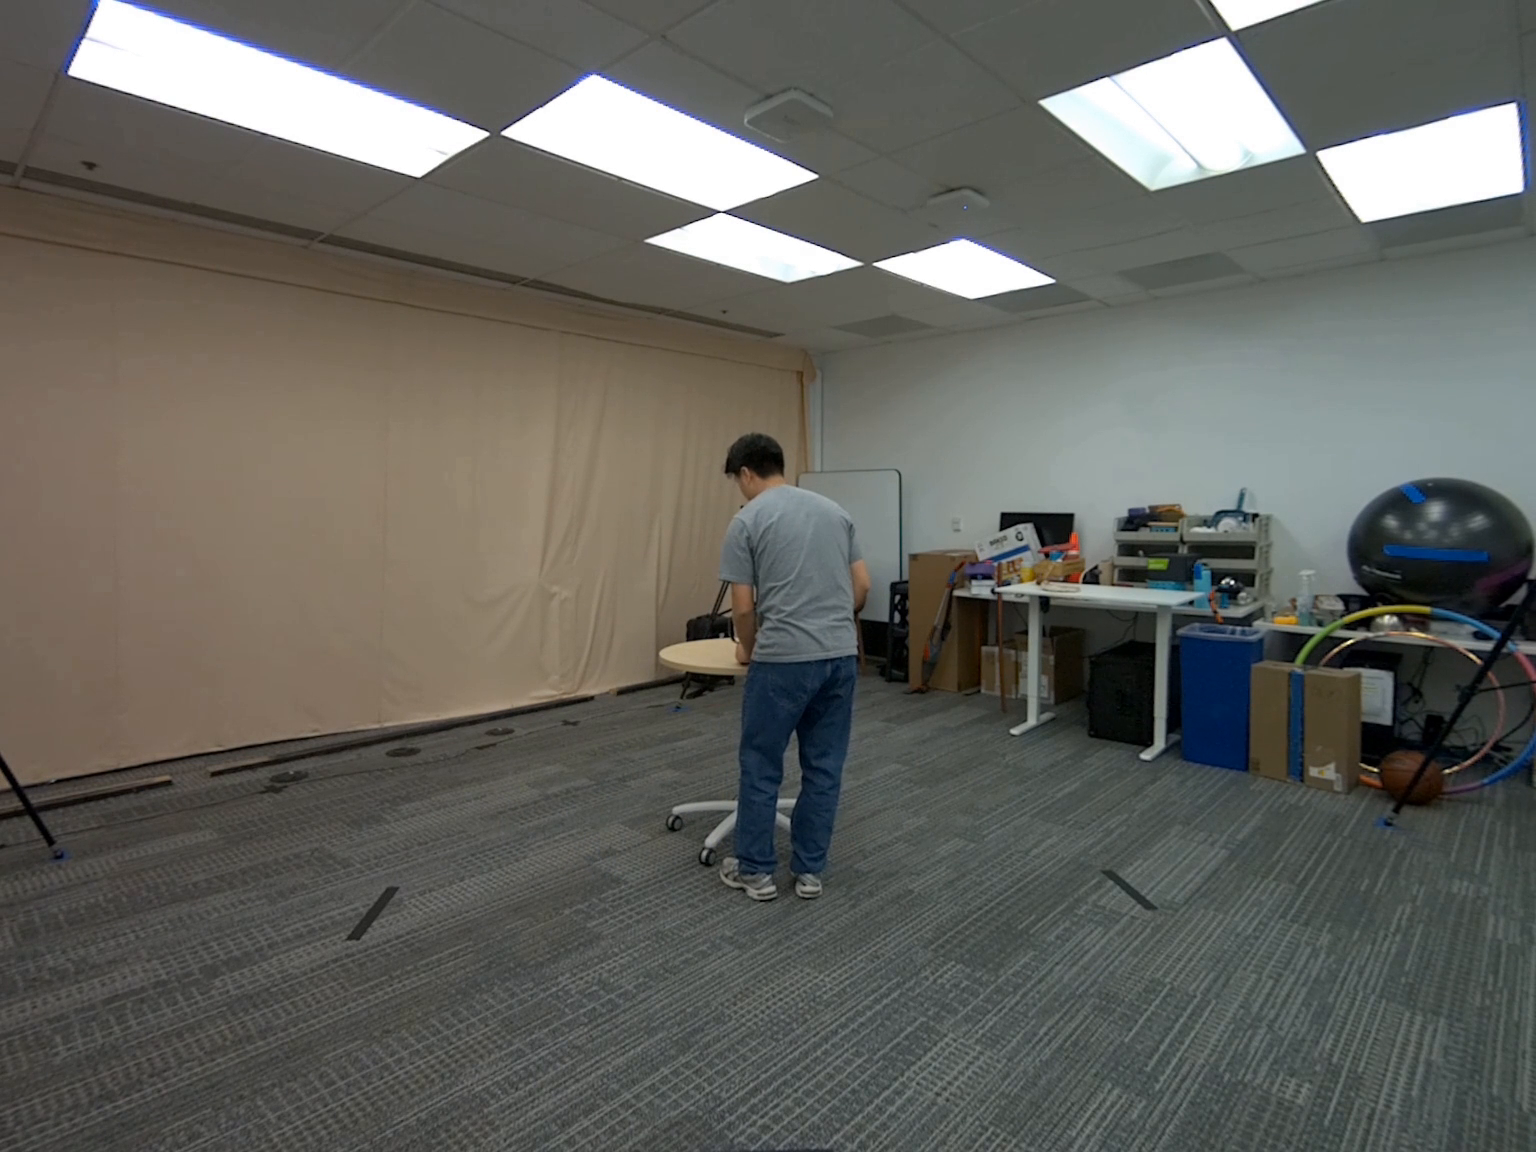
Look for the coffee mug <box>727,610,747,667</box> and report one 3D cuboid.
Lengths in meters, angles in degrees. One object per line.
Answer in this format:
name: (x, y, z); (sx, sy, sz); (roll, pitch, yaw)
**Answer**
coffee mug: (-0.089, 0.236, 3.275); (0.123, 0.202, 0.087); (3, 8, 10)
